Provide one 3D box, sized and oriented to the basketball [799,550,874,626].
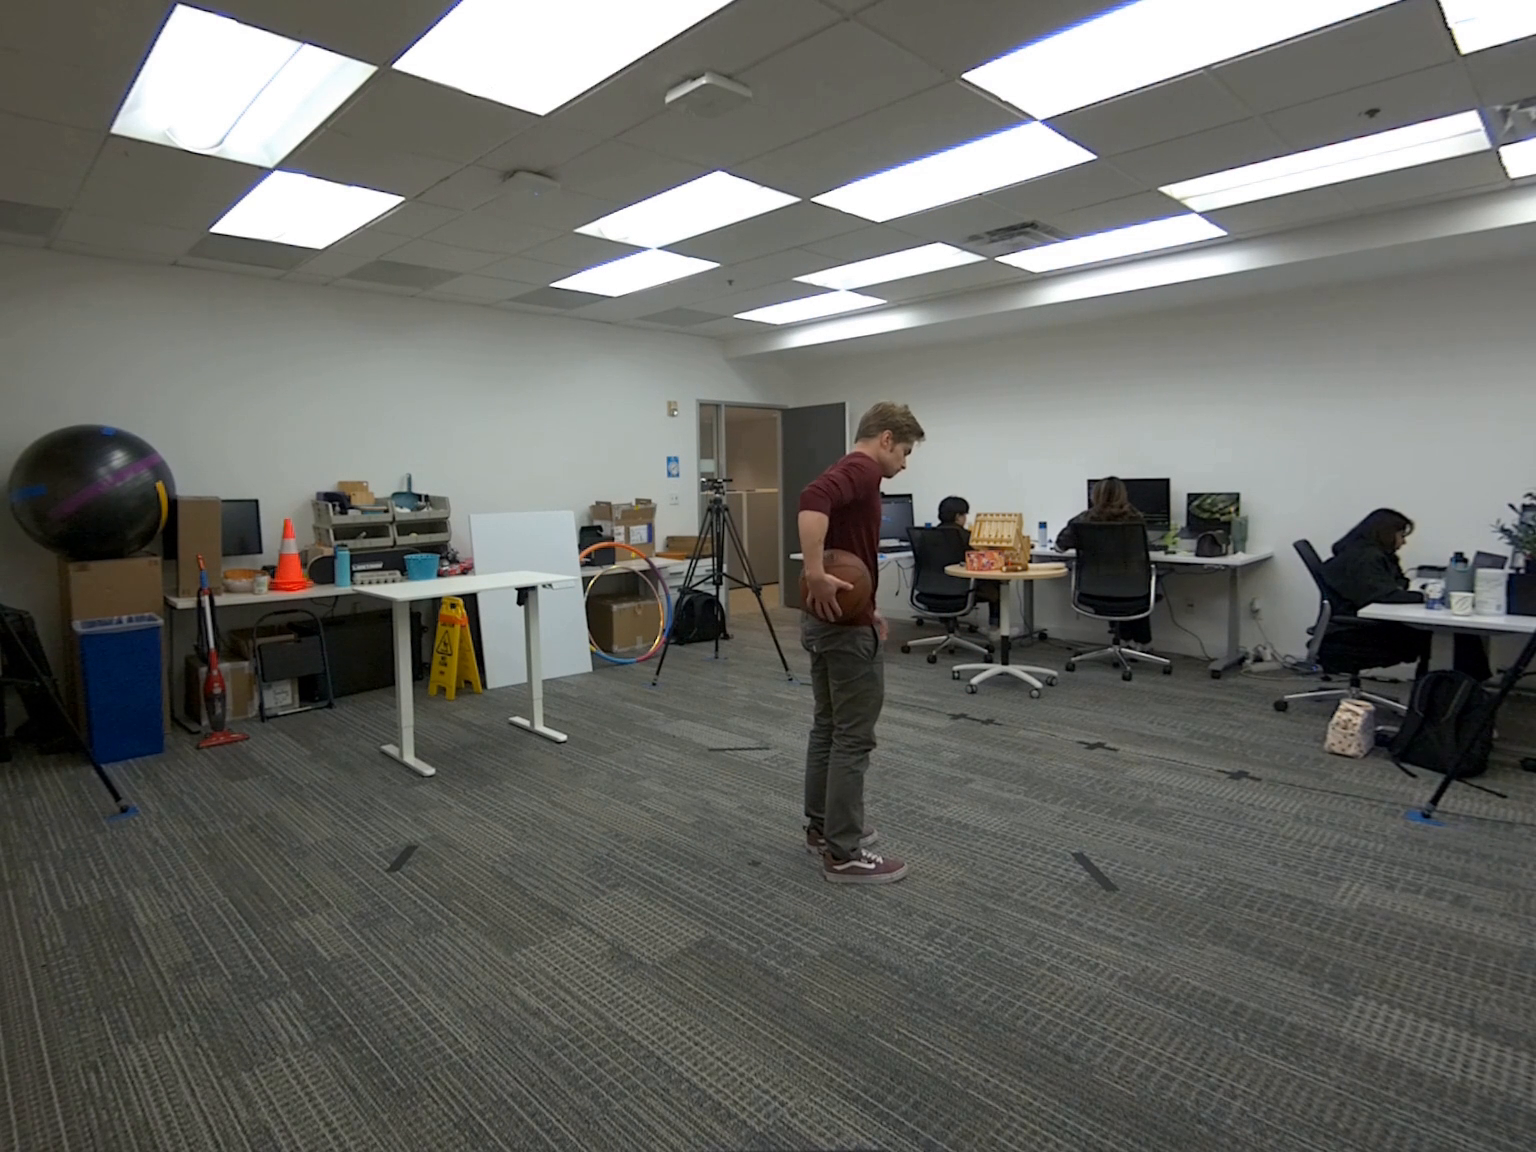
[{"bbox_3d":[0.223,0.032,2.817,0.236,0.235,0.237,-1,5,-2],"label":"basketball"}]
